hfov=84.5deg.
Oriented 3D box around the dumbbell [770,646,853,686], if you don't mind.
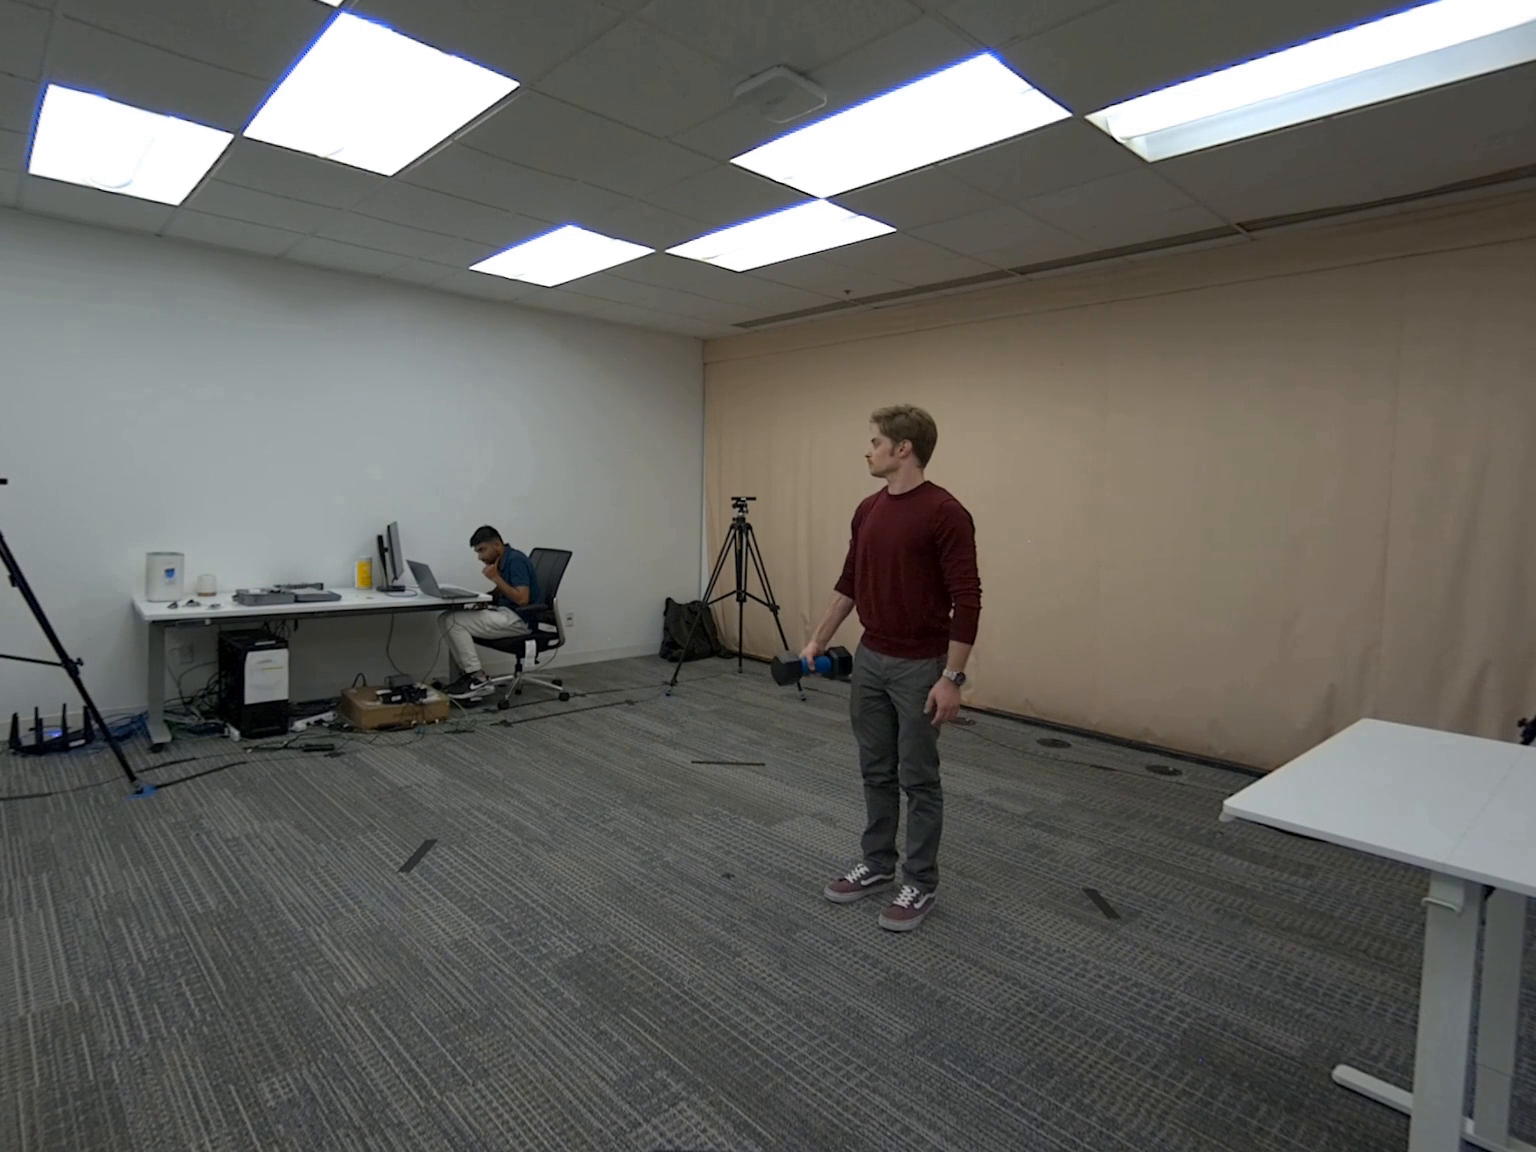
[{"bbox_3d":[0.156,0.310,3.011,0.289,0.123,0.110,-1,2,-23],"label":"dumbbell"}]
